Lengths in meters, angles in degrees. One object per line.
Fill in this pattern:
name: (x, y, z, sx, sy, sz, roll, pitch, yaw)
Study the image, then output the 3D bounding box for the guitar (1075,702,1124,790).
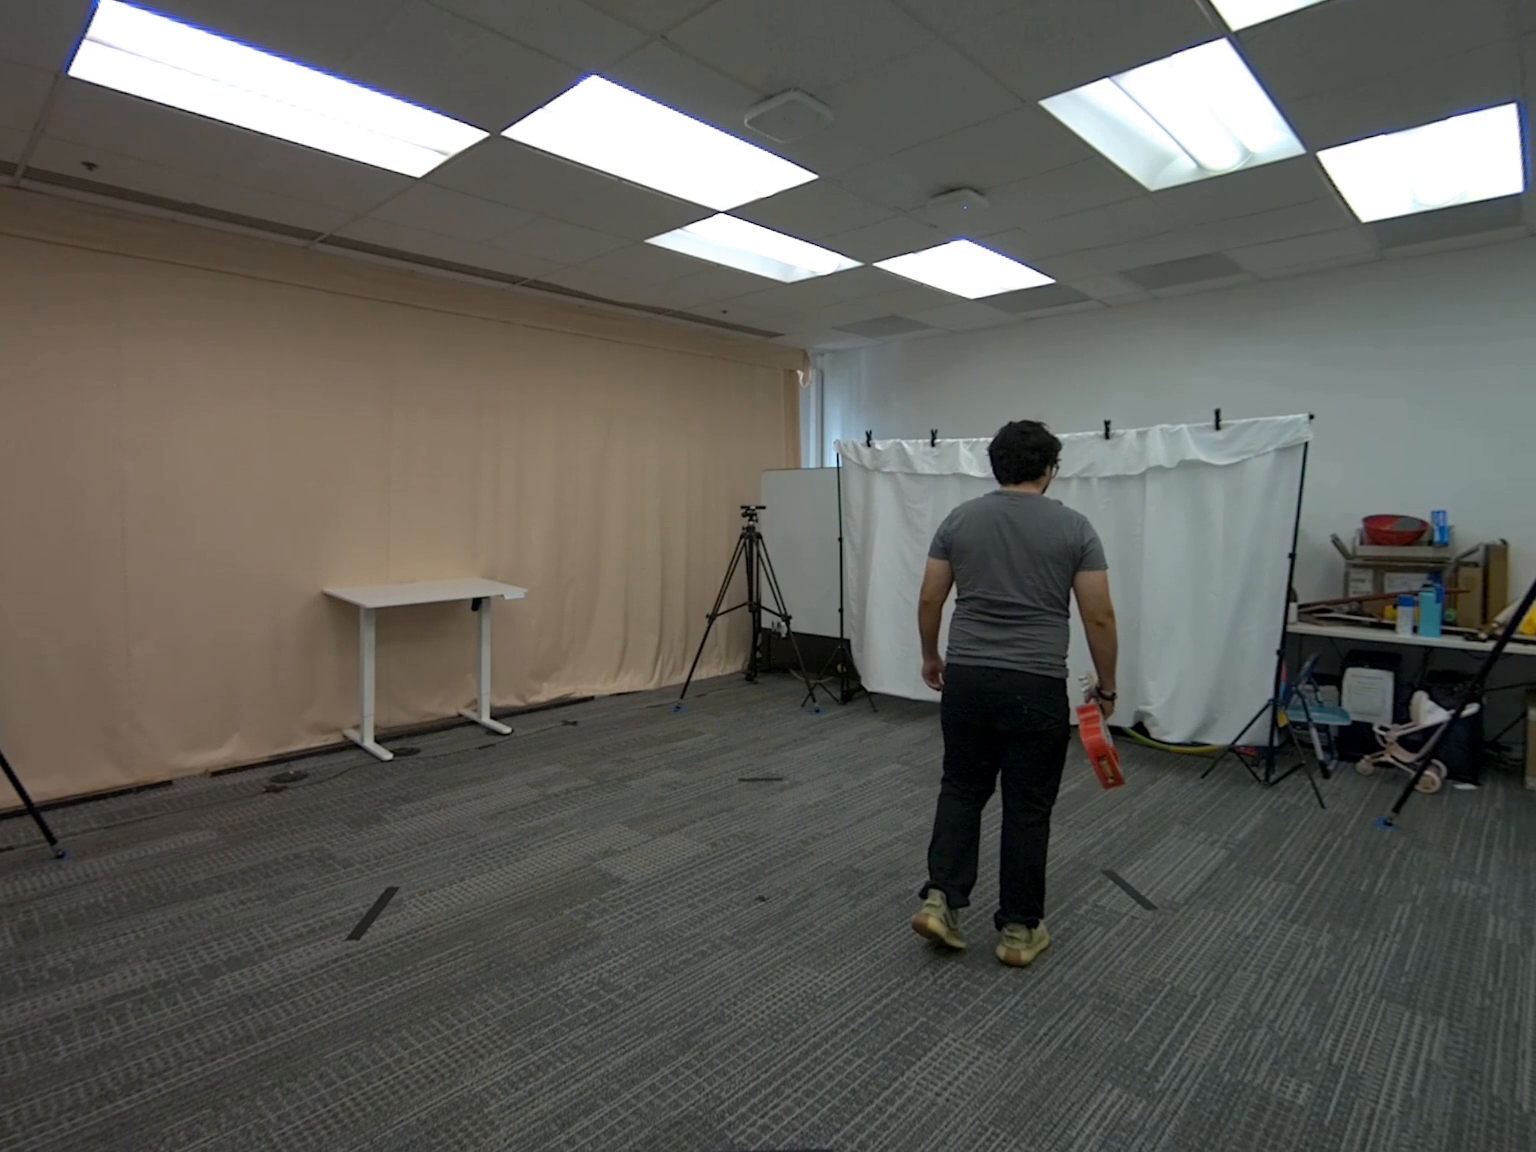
guitar: (1.020, 0.477, 2.580, 0.072, 0.192, 0.492, -23, 6, 23)
